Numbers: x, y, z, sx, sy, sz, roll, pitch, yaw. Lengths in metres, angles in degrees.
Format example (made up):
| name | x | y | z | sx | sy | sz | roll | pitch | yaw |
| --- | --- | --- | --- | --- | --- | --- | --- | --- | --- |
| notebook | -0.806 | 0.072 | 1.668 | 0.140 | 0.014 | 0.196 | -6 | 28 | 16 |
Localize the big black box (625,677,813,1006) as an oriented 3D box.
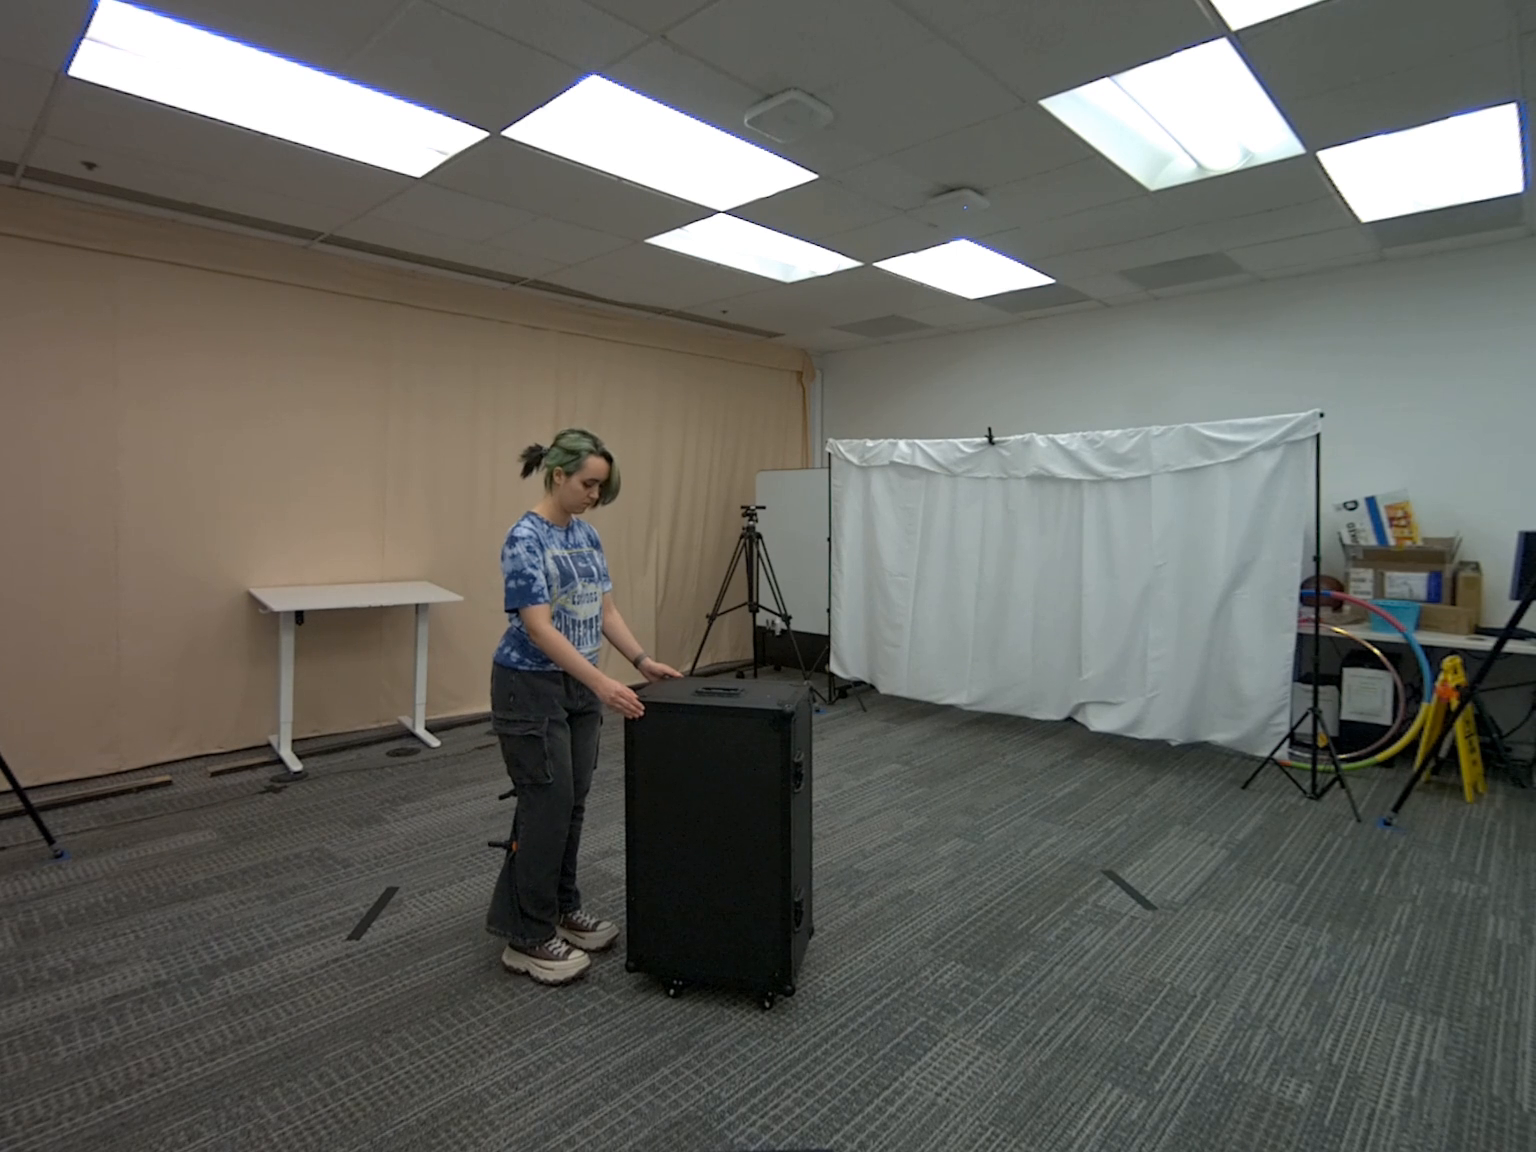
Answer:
| name | x | y | z | sx | sy | sz | roll | pitch | yaw |
| --- | --- | --- | --- | --- | --- | --- | --- | --- | --- |
| big black box | -0.136 | 0.772 | 2.488 | 0.529 | 0.860 | 0.391 | 1 | 3 | 14 |
